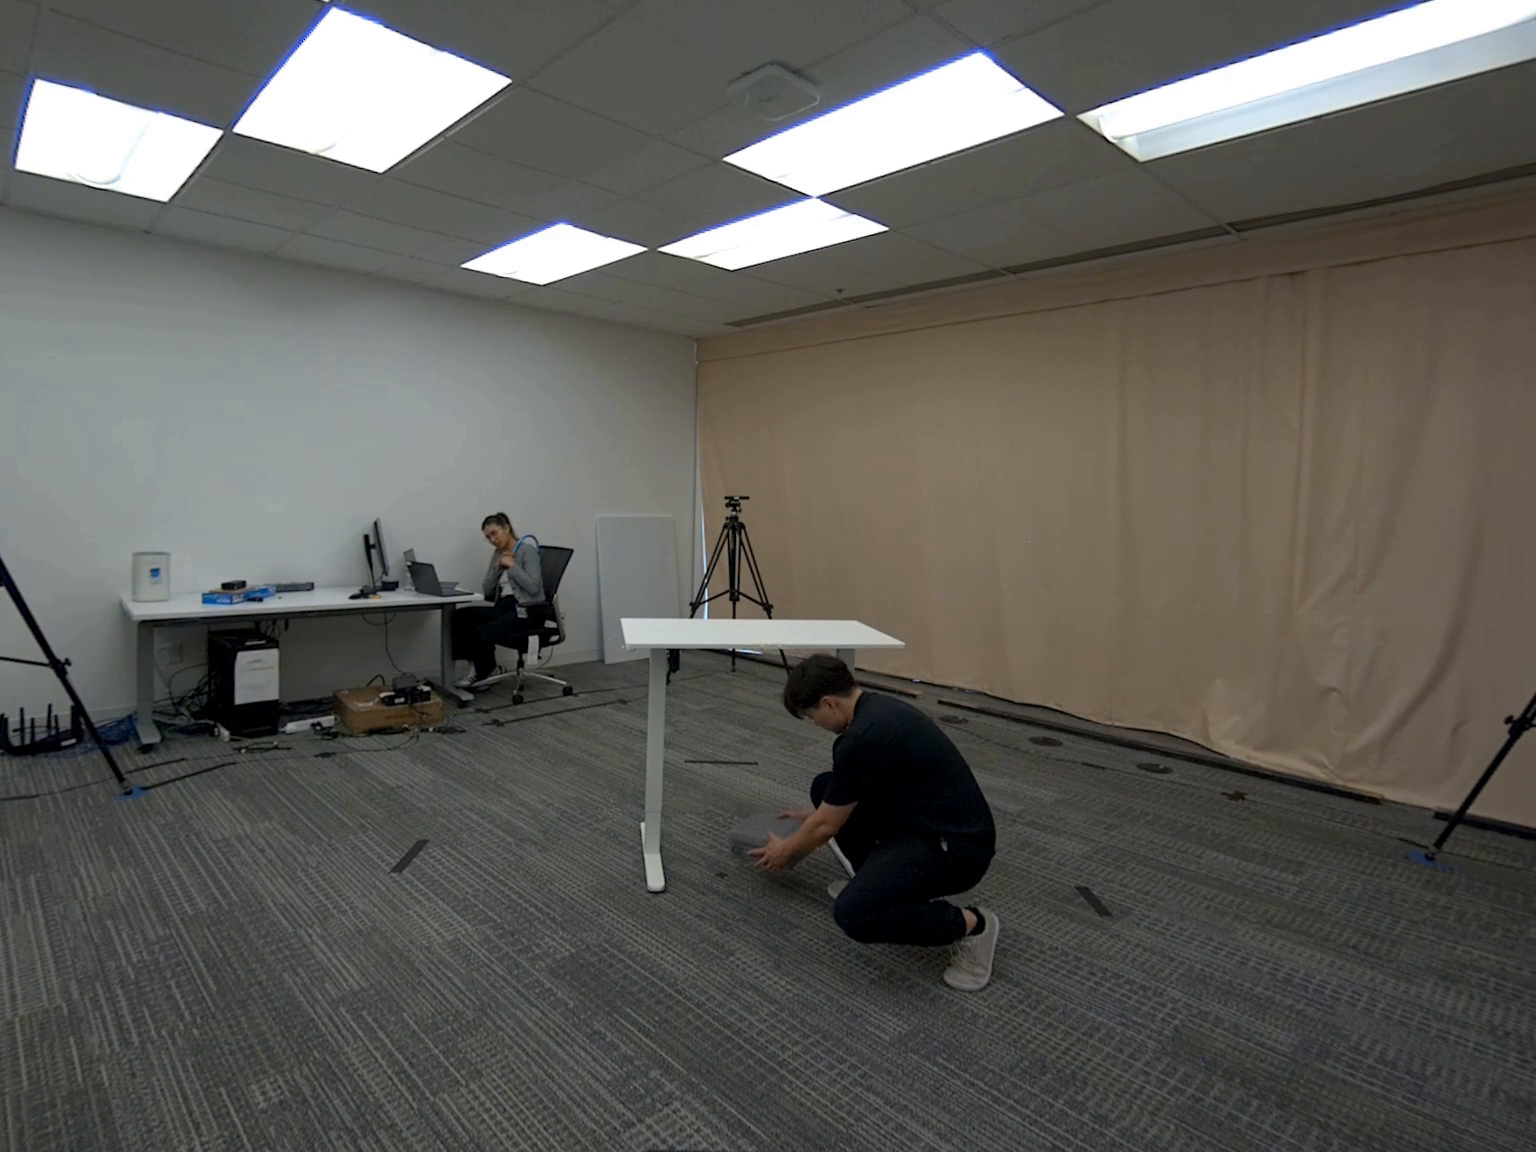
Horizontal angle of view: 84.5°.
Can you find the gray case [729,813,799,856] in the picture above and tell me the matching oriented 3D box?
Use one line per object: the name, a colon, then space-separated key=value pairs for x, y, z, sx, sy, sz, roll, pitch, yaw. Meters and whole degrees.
gray case: x=0.004 y=0.941 z=3.026 sx=0.266 sy=0.104 sz=0.253 roll=4 pitch=6 yaw=24
